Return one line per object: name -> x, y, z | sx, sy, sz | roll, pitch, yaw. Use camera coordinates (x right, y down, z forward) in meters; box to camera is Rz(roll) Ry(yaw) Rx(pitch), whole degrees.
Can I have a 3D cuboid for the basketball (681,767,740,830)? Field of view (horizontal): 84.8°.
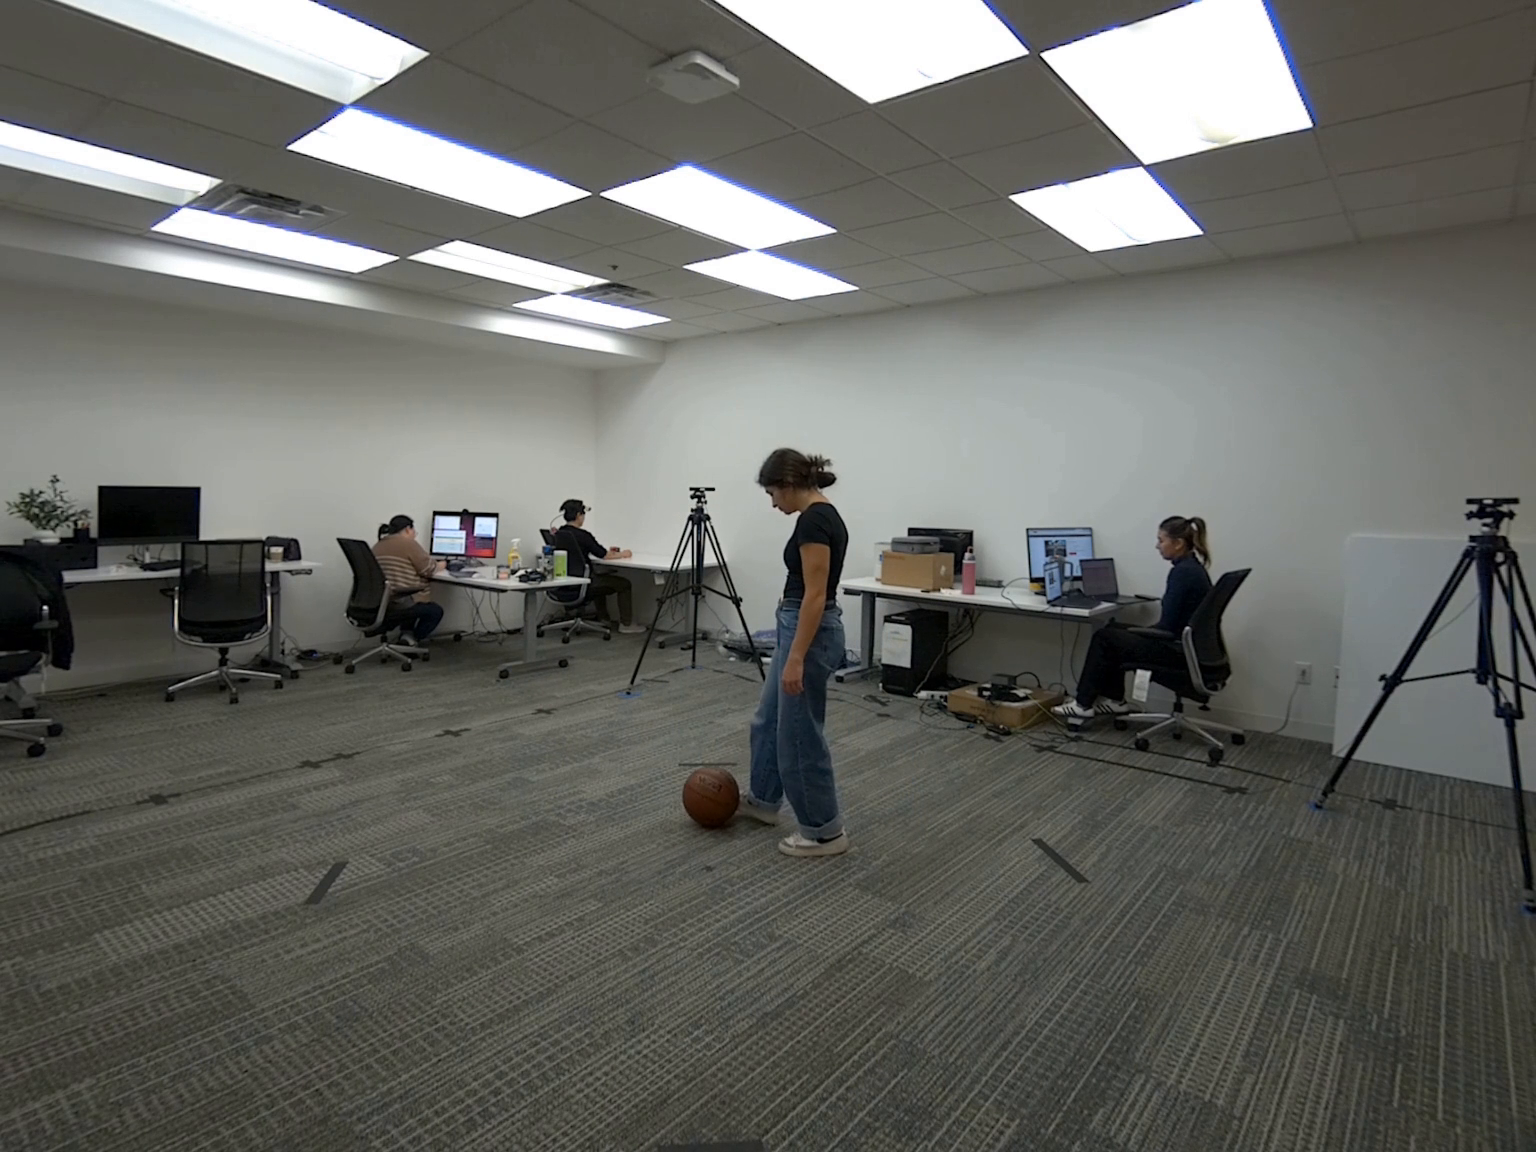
basketball -> -0.251, 0.904, 3.520 | 0.235, 0.235, 0.237 | 1, 4, -2
